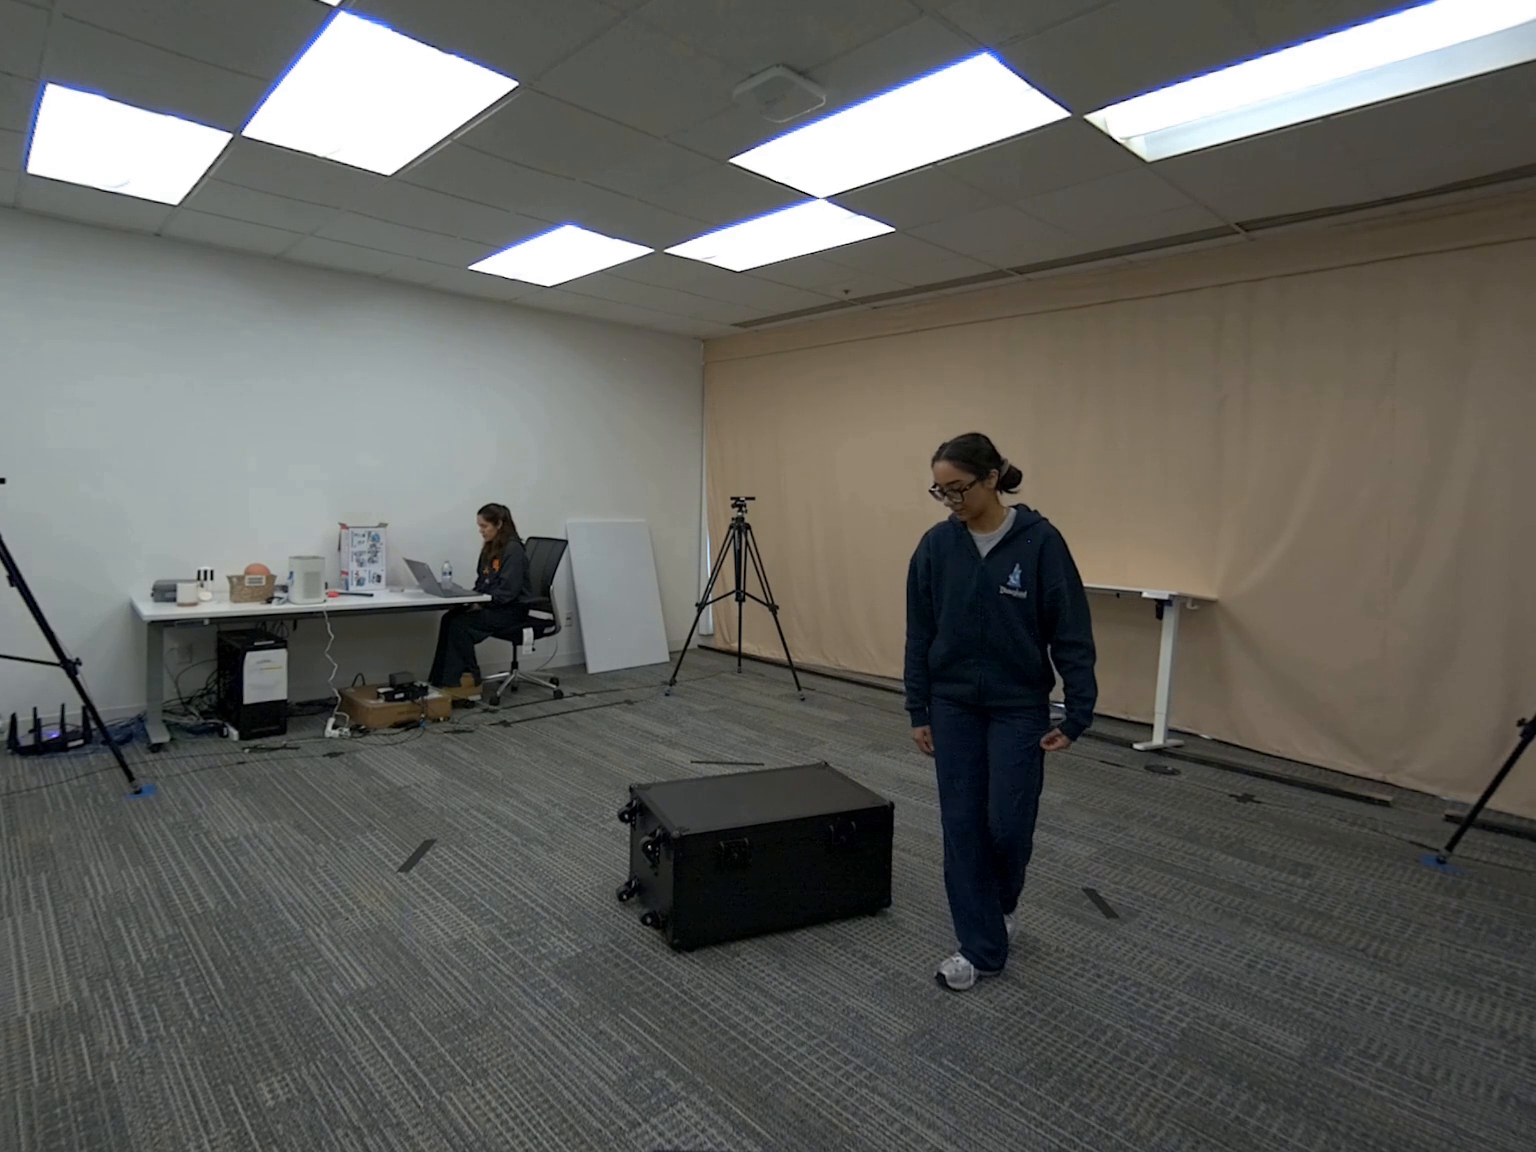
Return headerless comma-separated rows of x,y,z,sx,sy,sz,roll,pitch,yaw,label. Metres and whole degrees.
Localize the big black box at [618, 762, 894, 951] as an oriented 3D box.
-0.065,0.958,2.890,0.846,0.520,0.404,-1,3,-25,big black box
